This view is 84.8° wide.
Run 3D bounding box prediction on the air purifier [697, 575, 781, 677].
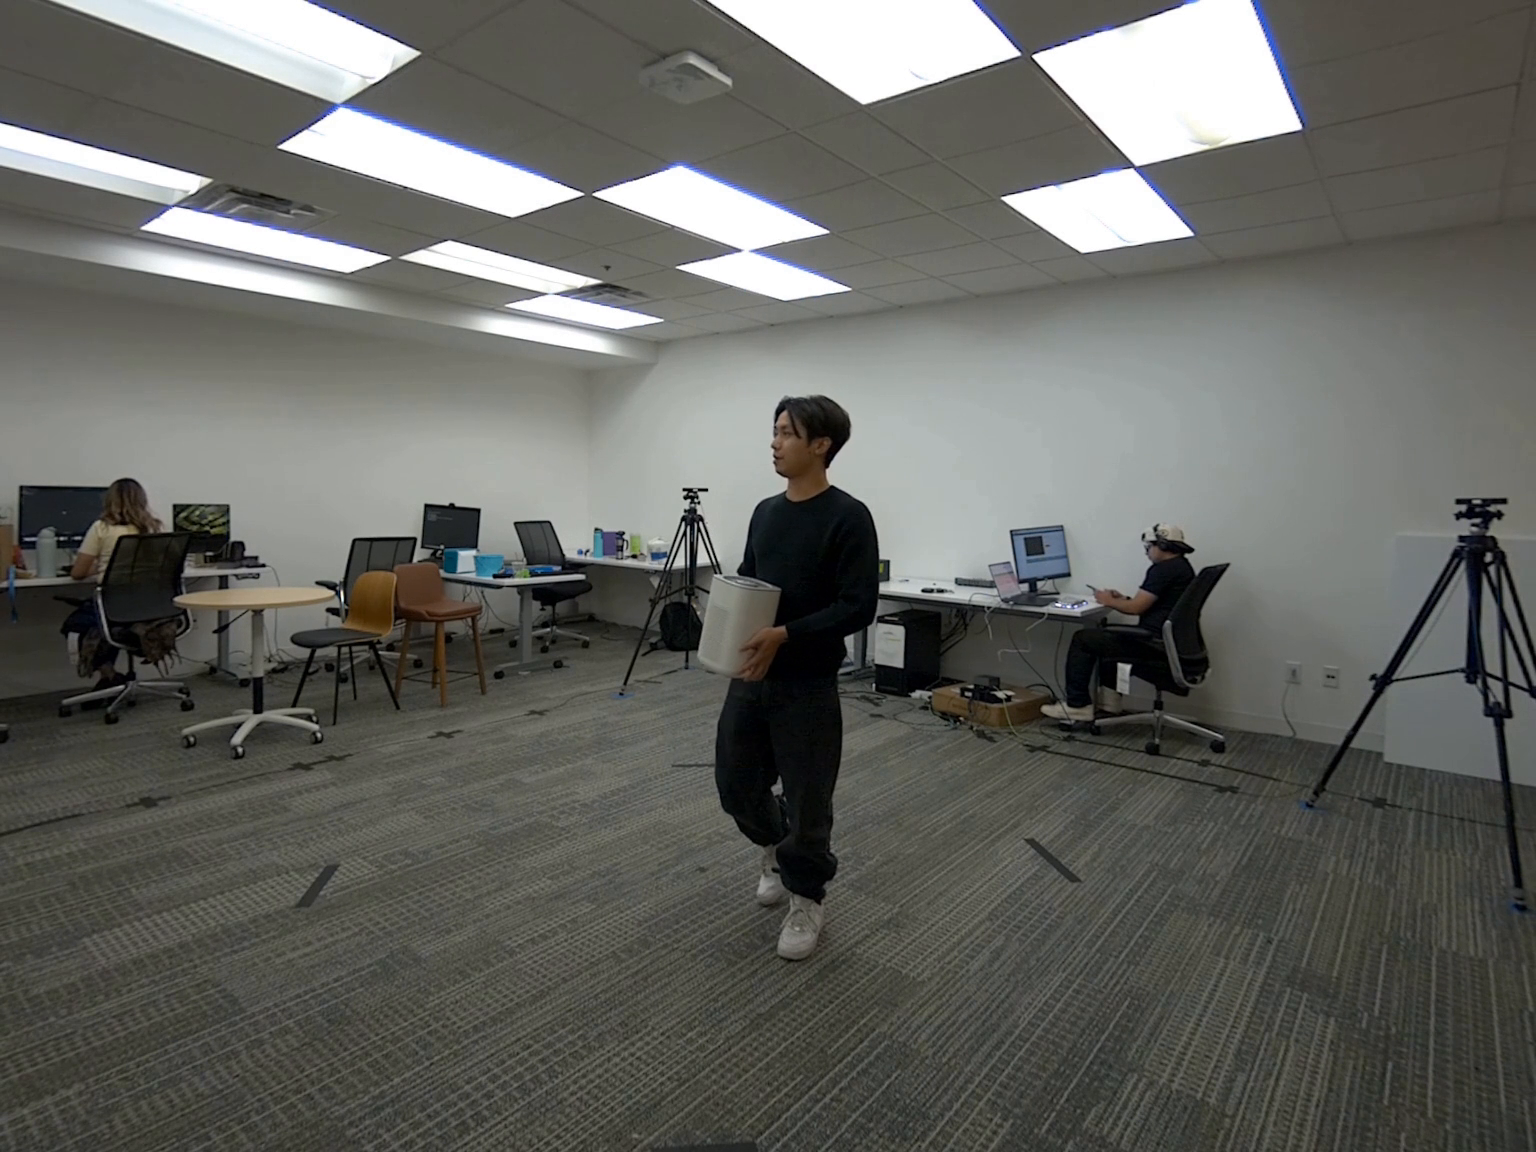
[{"bbox_3d":[-0.101,0.143,2.451,0.165,0.264,0.178,8,6,-36],"label":"air purifier"}]
